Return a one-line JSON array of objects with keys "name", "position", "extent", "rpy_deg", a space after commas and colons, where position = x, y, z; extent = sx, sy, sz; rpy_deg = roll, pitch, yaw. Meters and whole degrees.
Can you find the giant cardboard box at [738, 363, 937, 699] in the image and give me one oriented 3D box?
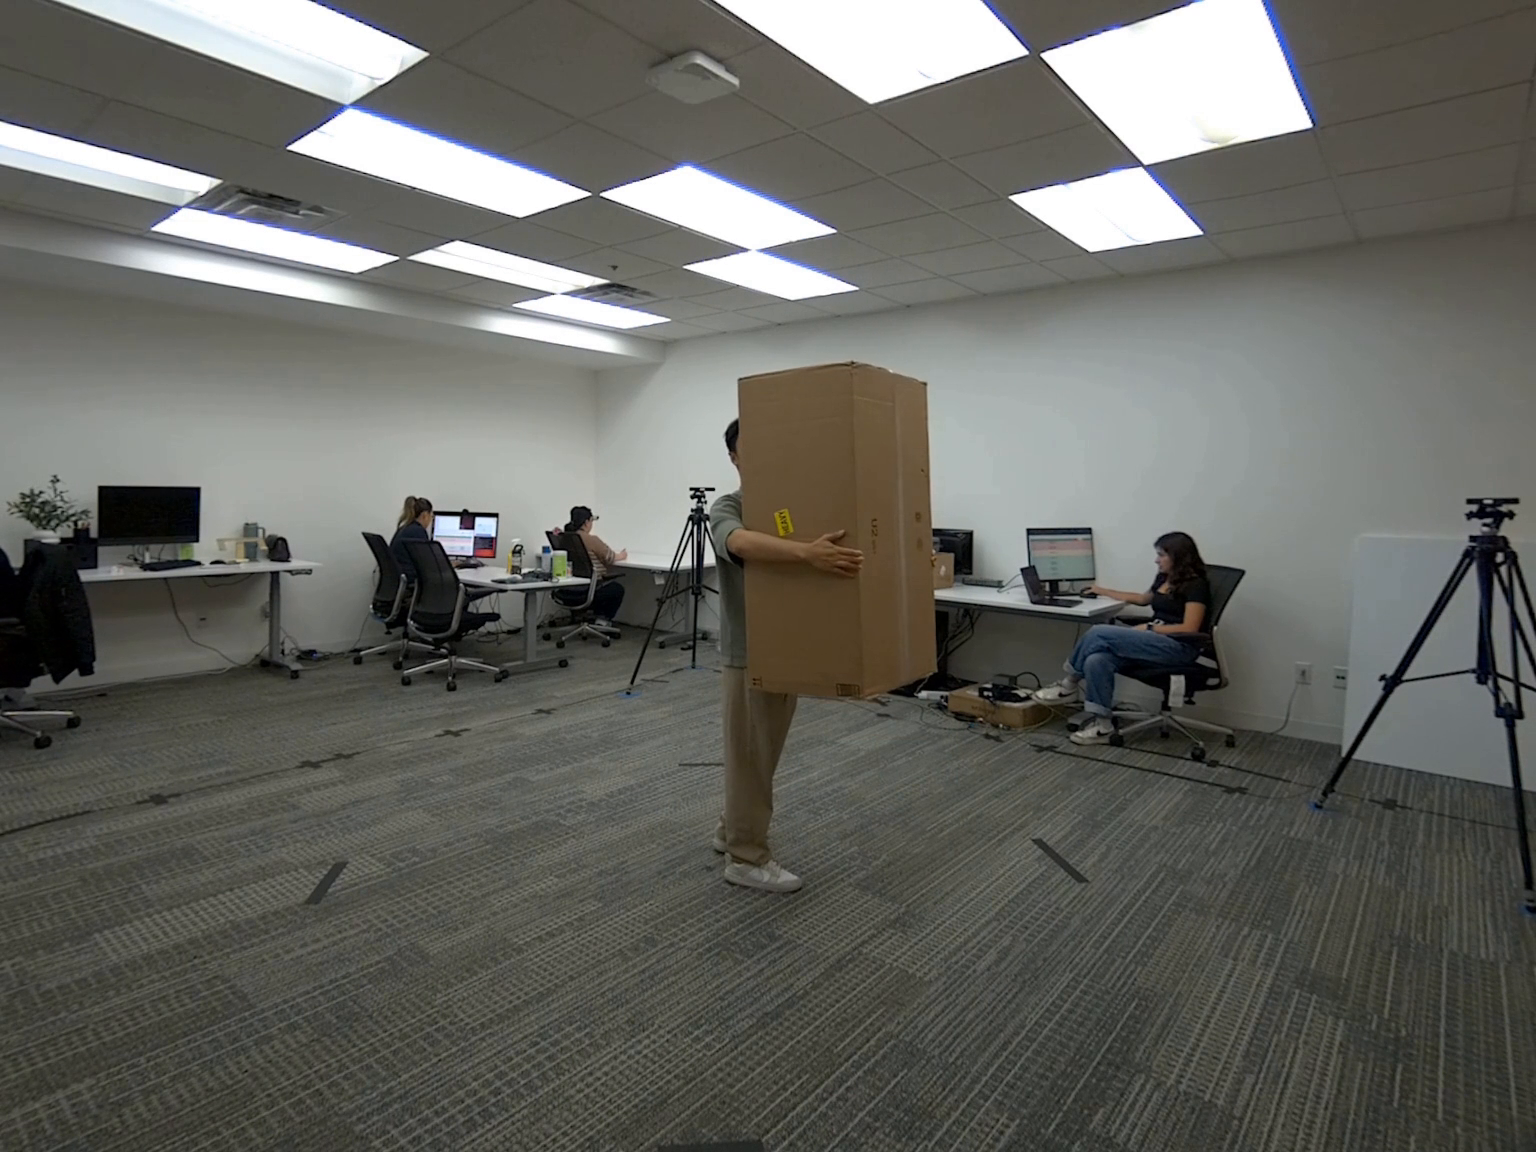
[{"name": "giant cardboard box", "position": [0.241, -0.158, 2.883], "extent": [0.439, 1.025, 0.561], "rpy_deg": [-1, 2, 35]}]
